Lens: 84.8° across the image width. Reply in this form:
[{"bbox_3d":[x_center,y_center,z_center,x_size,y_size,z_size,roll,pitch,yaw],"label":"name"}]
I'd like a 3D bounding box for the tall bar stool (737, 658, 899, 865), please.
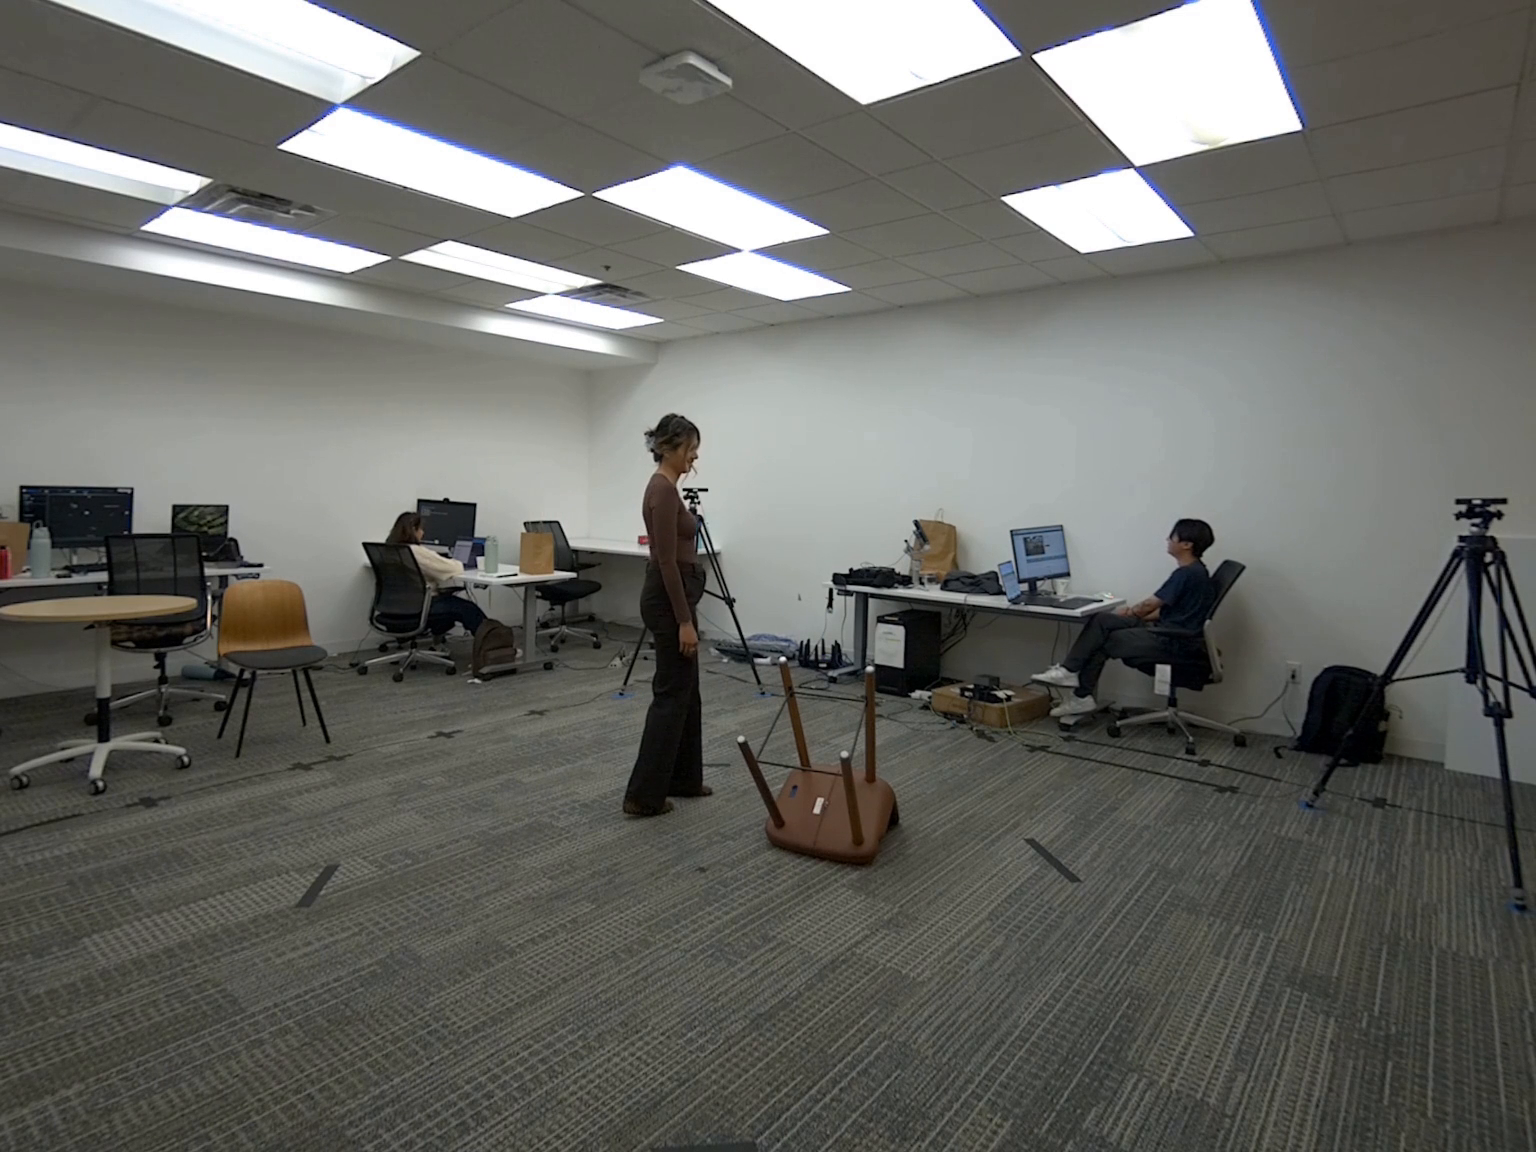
[{"bbox_3d":[0.220,0.807,3.315,0.468,0.860,0.471,3,38,23],"label":"tall bar stool"}]
